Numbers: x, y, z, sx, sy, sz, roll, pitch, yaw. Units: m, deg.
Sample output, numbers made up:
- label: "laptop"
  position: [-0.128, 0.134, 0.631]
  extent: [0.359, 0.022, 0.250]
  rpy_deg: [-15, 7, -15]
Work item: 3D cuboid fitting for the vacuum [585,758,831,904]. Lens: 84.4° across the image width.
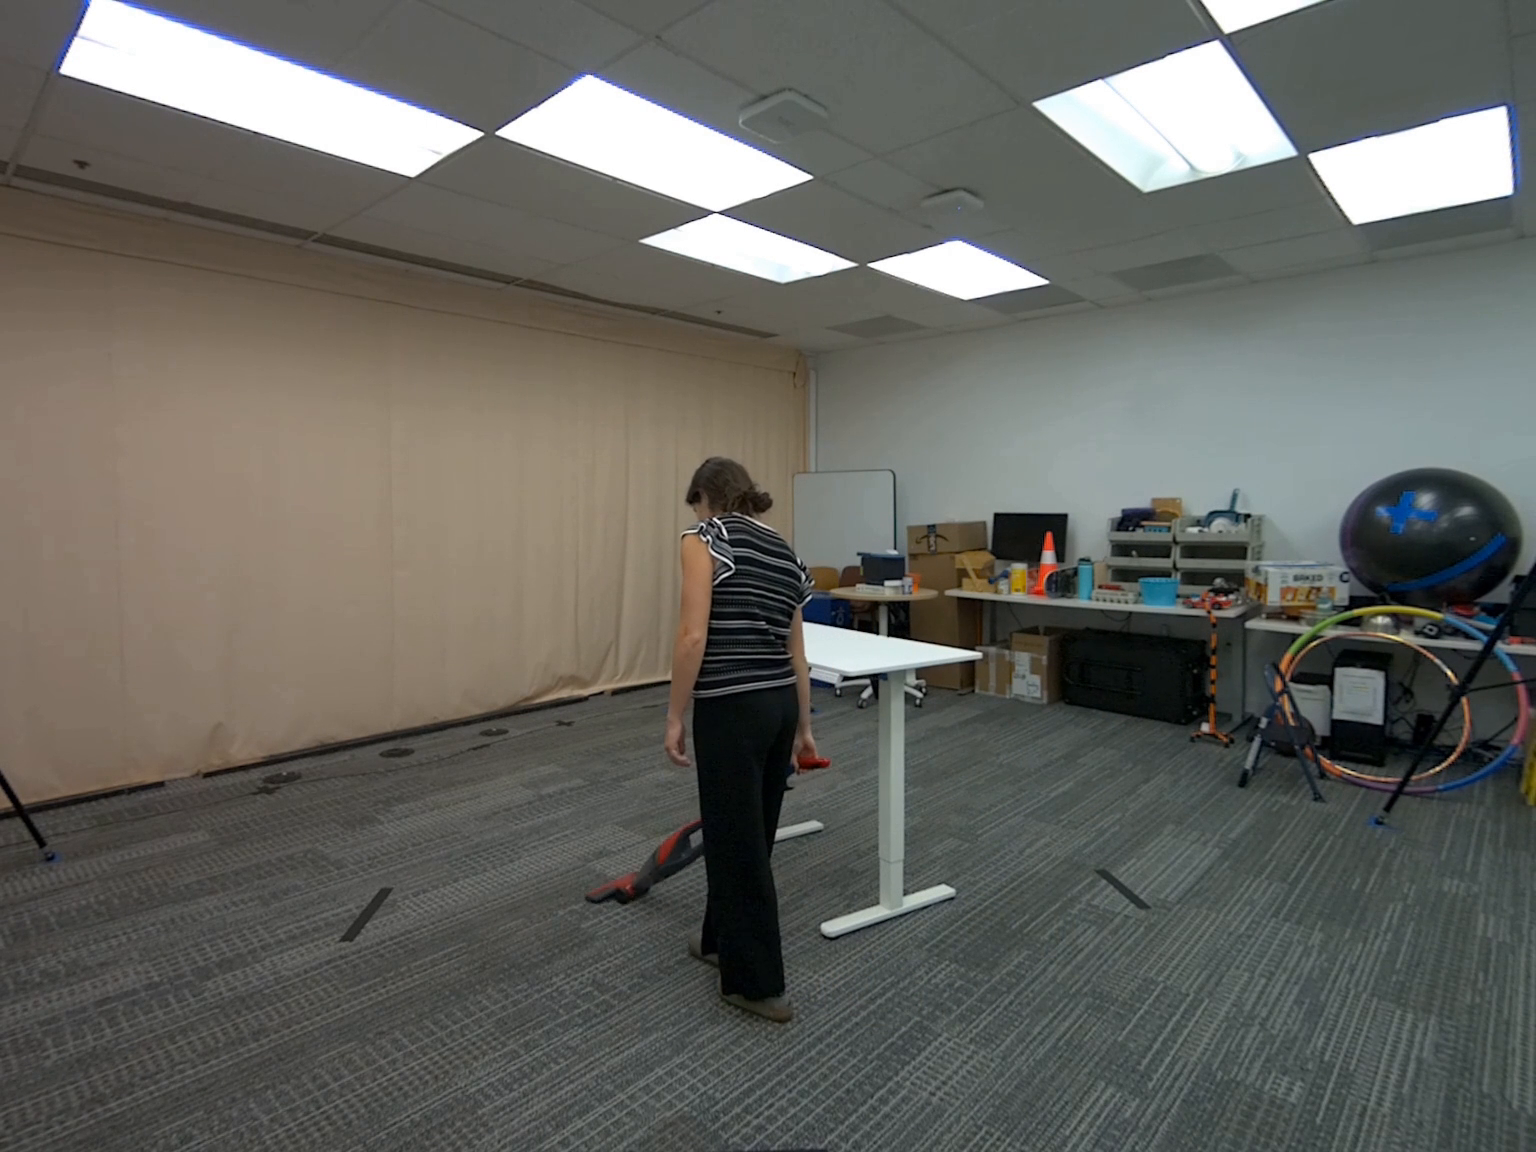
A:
- label: "vacuum"
  position: [-0.209, 0.854, 2.760]
  extent: [1.062, 0.146, 0.246]
  rpy_deg: [-38, -15, 34]
